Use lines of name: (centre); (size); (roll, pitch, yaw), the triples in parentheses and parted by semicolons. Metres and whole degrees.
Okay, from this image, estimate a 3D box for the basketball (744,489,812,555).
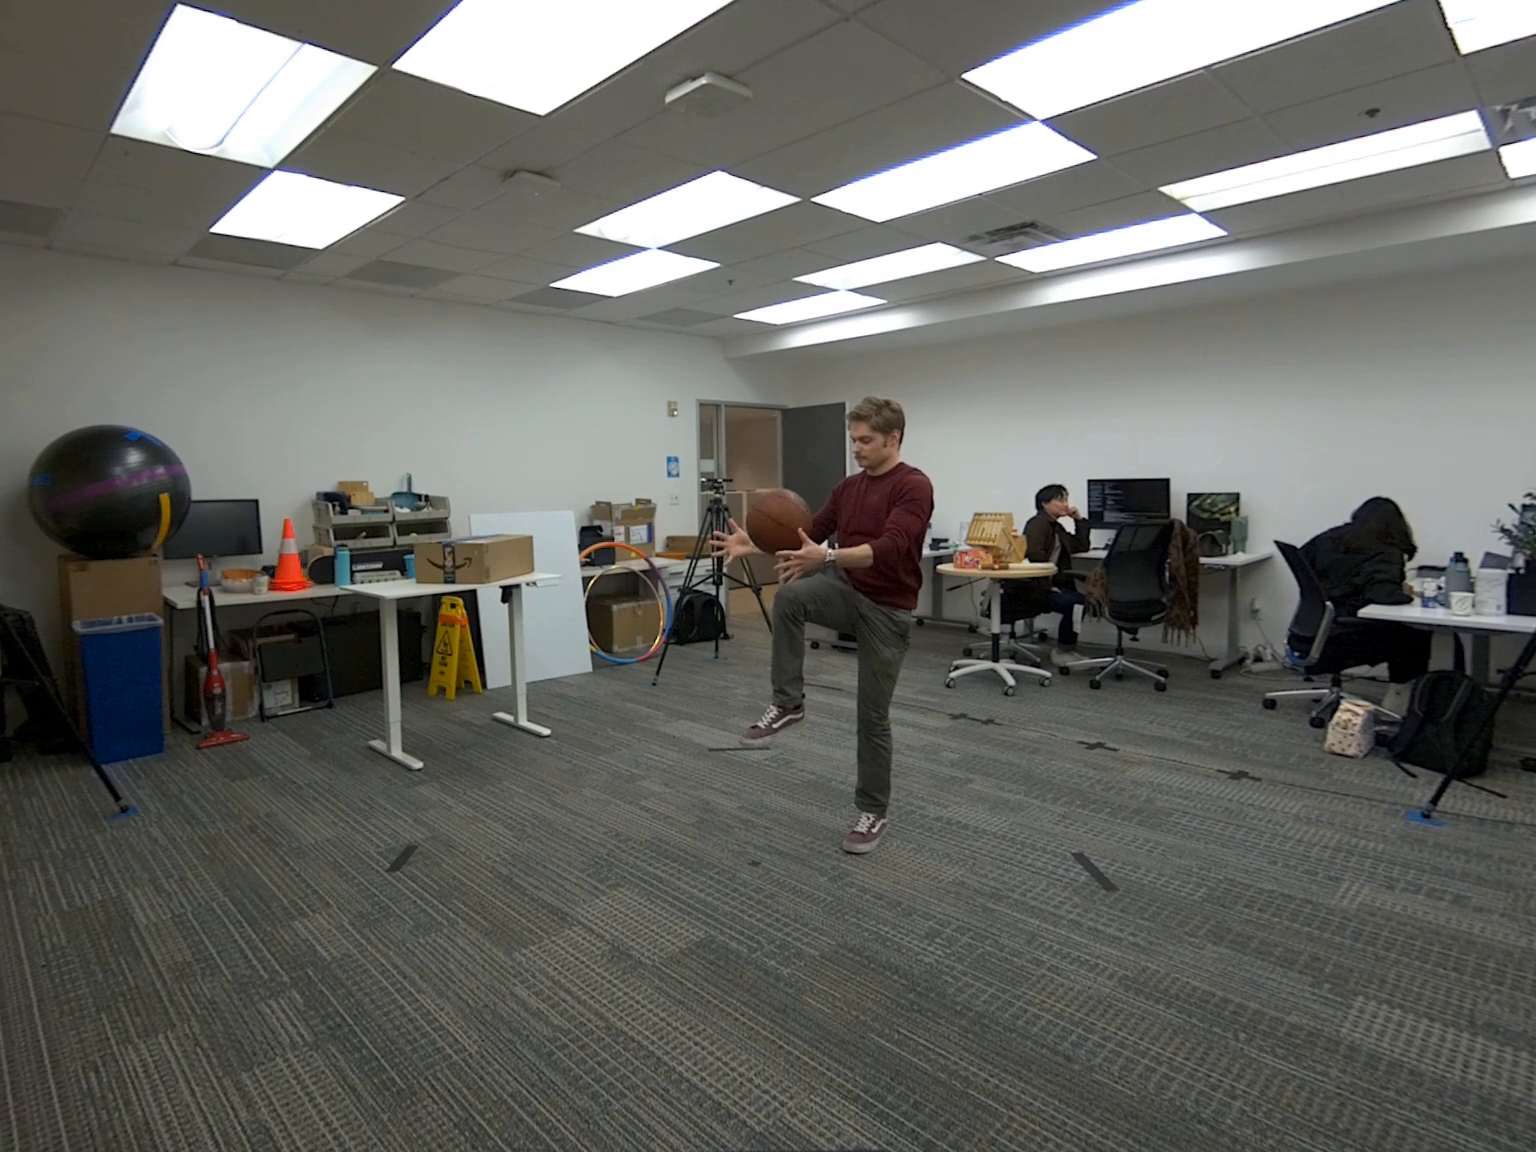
basketball: (0.035, -0.207, 3.059); (0.236, 0.235, 0.237); (-1, 5, -2)
